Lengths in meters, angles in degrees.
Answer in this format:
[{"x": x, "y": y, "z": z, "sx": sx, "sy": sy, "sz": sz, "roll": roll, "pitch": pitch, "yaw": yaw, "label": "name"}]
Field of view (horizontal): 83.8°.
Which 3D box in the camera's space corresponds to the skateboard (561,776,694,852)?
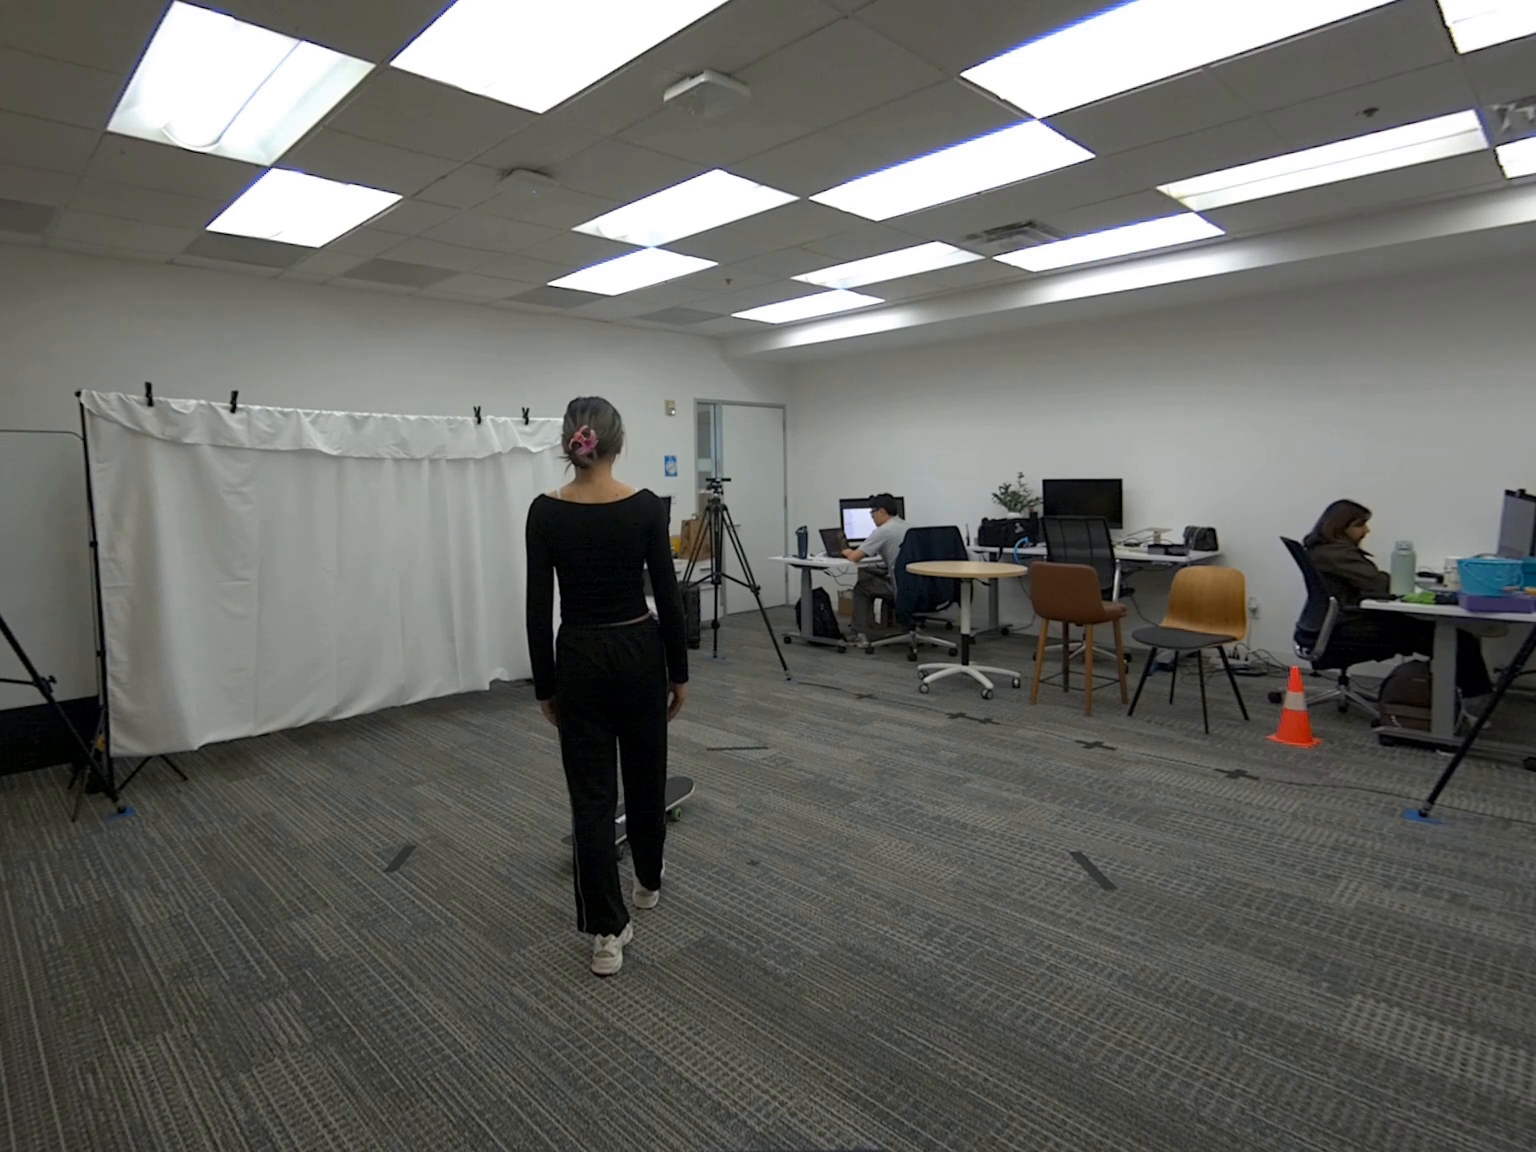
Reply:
[{"x": -0.524, "y": 0.963, "z": 3.368, "sx": 0.198, "sy": 0.110, "sz": 0.771, "roll": 2, "pitch": 7, "yaw": 25, "label": "skateboard"}]
